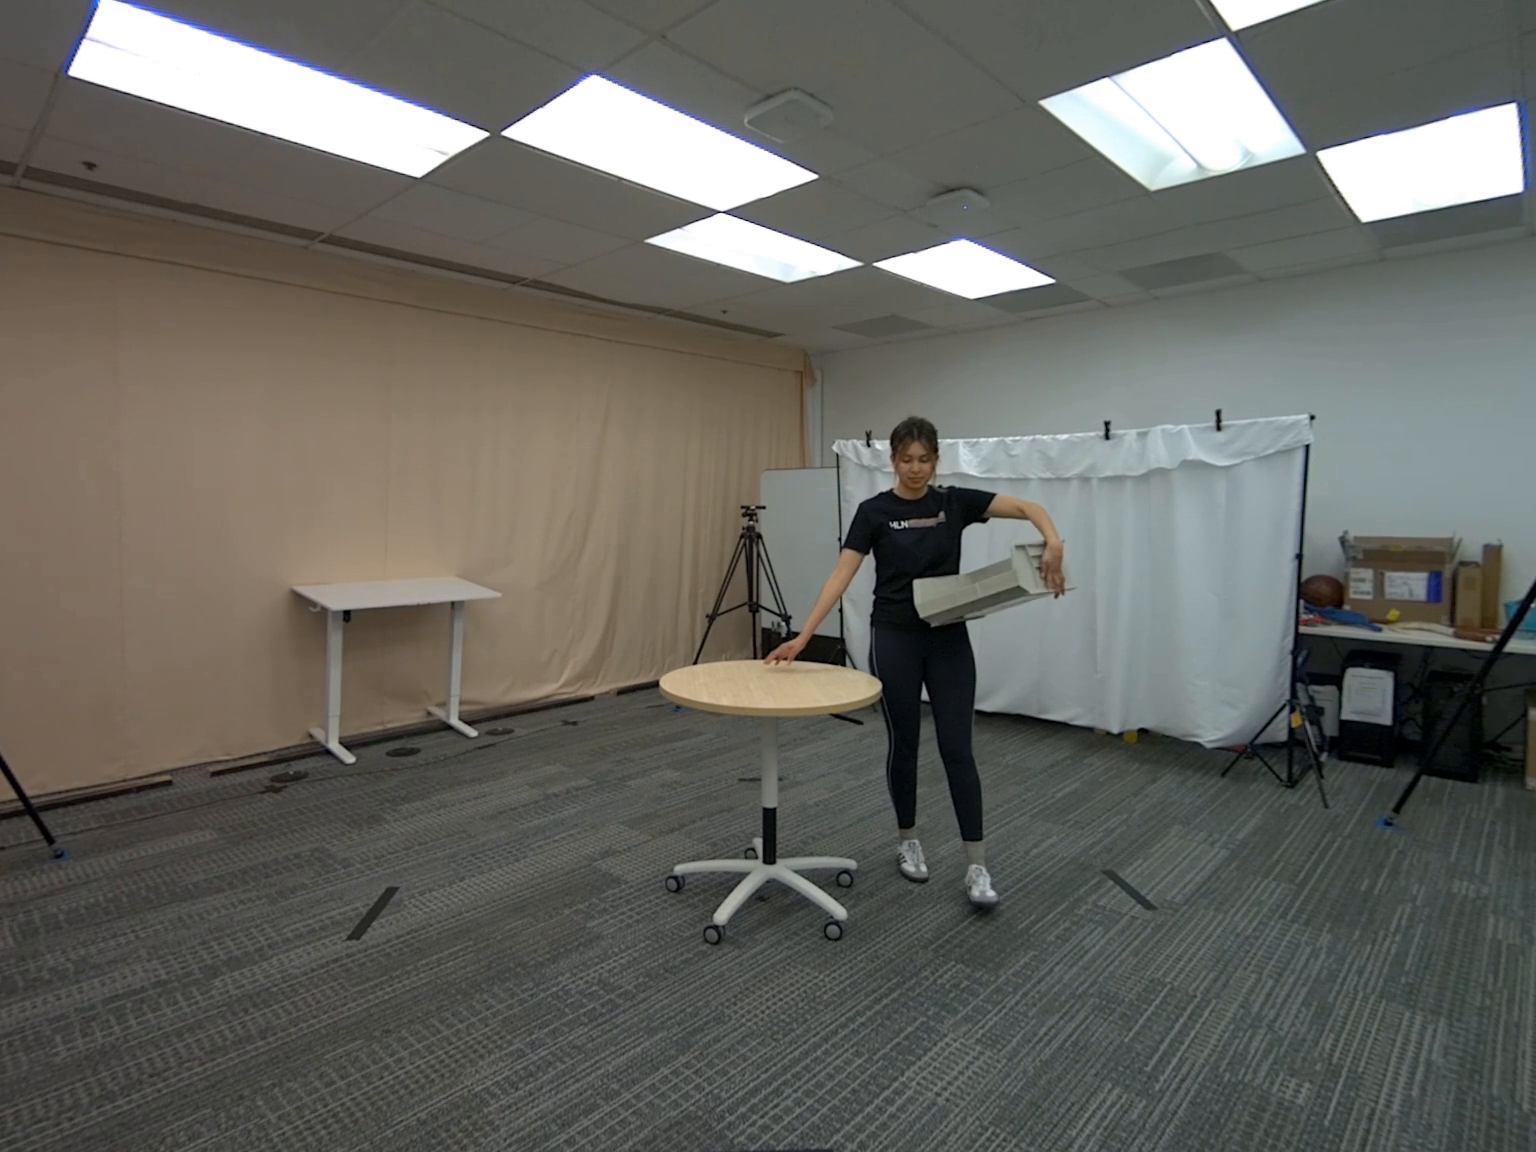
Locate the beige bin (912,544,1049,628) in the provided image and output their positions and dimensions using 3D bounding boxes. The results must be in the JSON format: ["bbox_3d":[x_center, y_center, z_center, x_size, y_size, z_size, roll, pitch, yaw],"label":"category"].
[{"bbox_3d":[0.794,0.028,2.971,0.366,0.191,0.431,-3,-16,-43],"label":"beige bin"}]
